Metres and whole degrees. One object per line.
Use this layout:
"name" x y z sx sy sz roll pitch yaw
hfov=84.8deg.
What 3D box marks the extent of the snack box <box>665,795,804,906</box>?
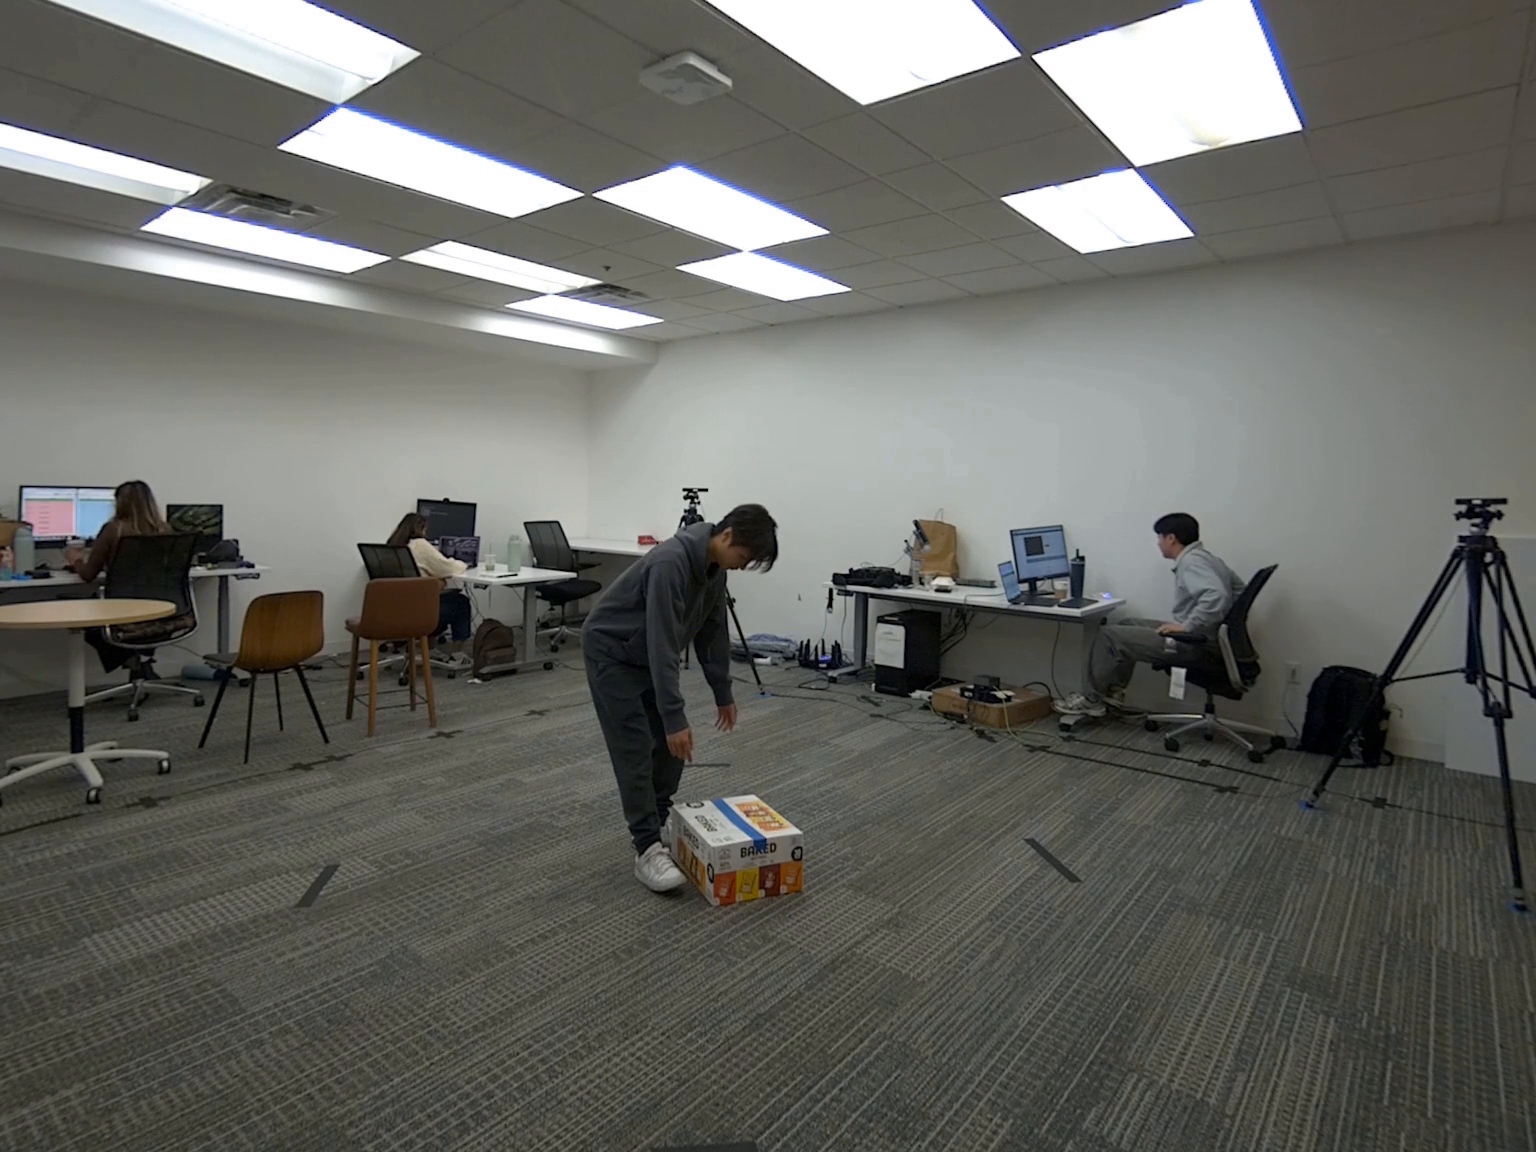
"snack box" -0.130 0.972 3.068 0.332 0.205 0.416 -1 6 -25
